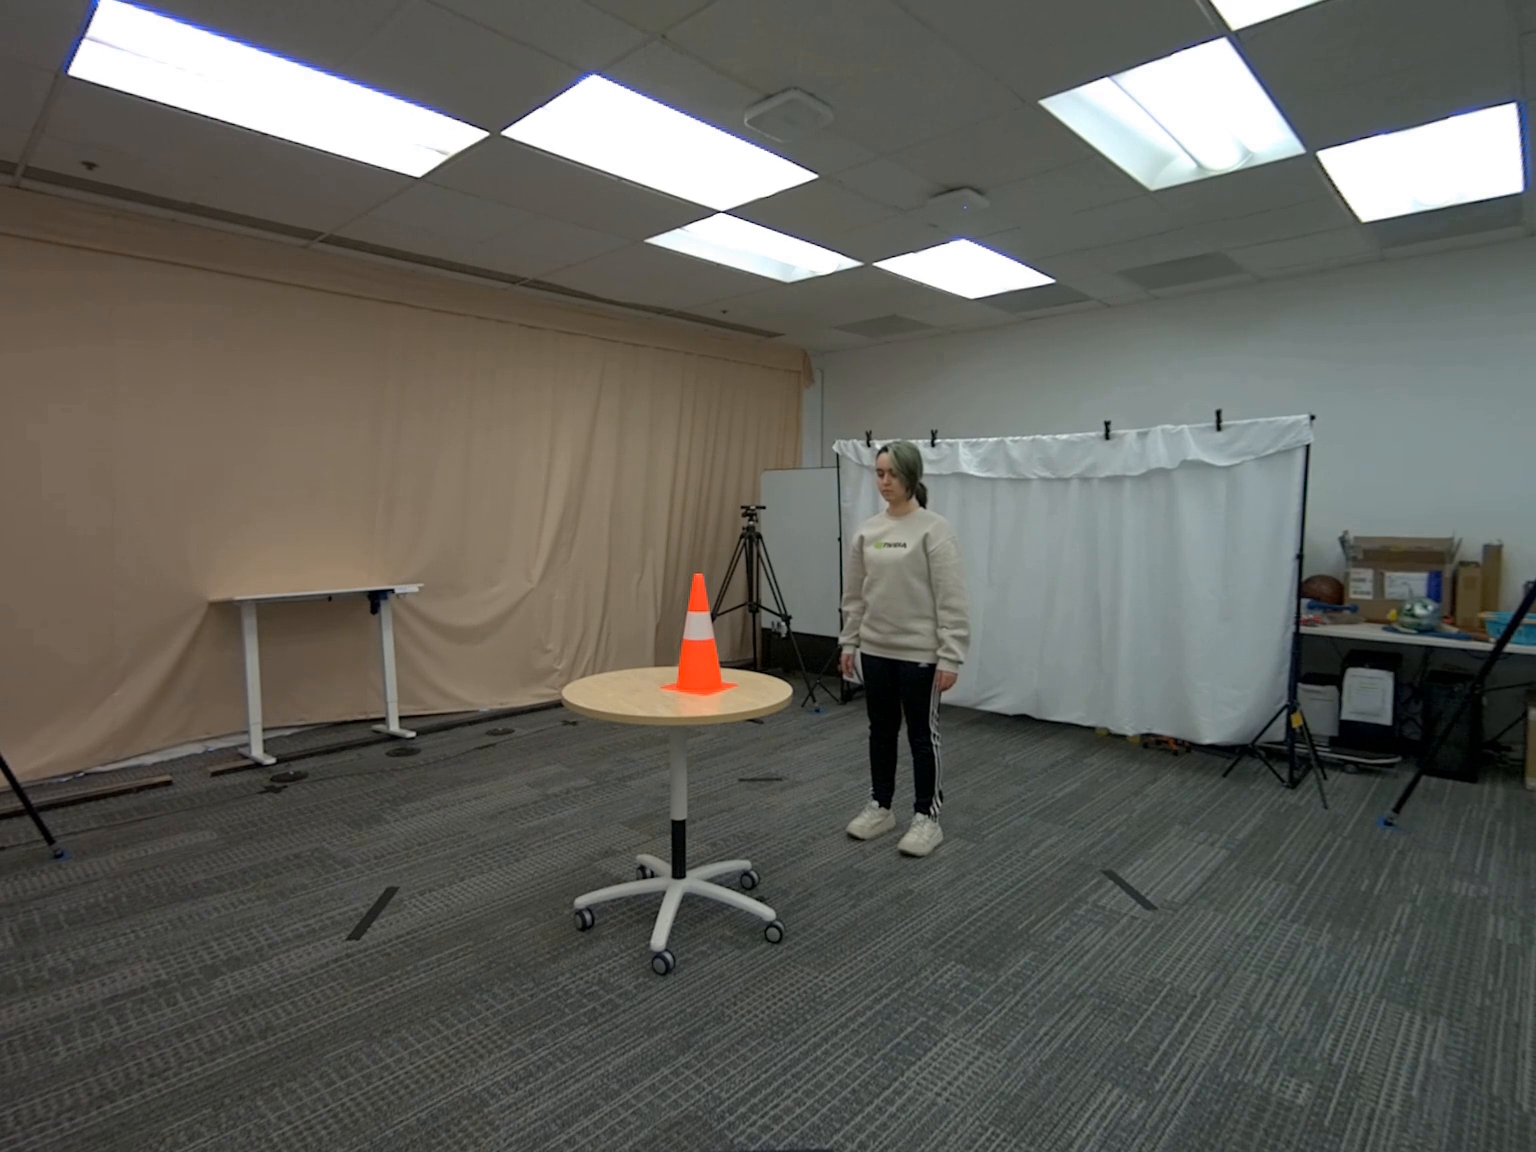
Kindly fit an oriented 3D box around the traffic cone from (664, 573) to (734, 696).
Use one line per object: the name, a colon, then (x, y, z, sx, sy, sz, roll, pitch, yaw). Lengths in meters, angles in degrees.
traffic cone: (-0.231, 0.189, 2.831, 0.211, 0.383, 0.197, 1, 3, 34)
